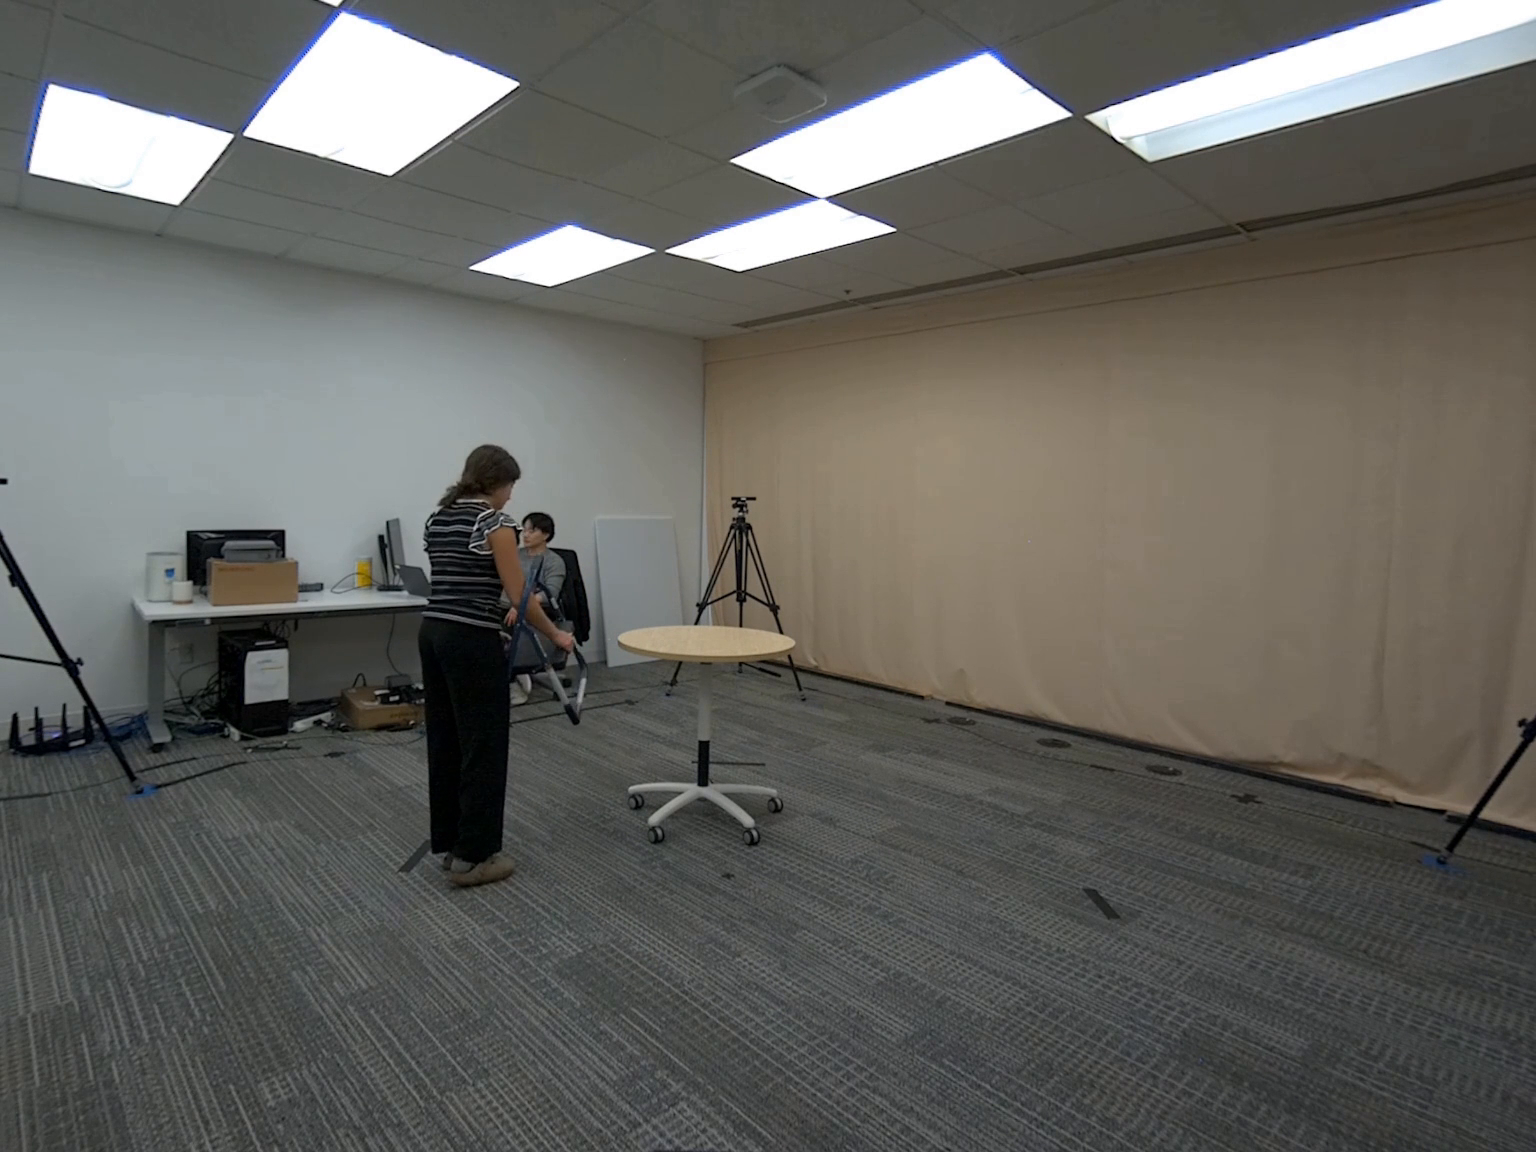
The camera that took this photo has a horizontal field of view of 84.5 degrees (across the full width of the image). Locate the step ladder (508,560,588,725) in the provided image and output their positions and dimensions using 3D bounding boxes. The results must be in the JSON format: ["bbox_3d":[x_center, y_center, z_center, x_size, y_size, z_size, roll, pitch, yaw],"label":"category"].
[{"bbox_3d":[-0.937,0.239,3.272,0.348,0.596,0.439,-7,22,-4],"label":"step ladder"}]
